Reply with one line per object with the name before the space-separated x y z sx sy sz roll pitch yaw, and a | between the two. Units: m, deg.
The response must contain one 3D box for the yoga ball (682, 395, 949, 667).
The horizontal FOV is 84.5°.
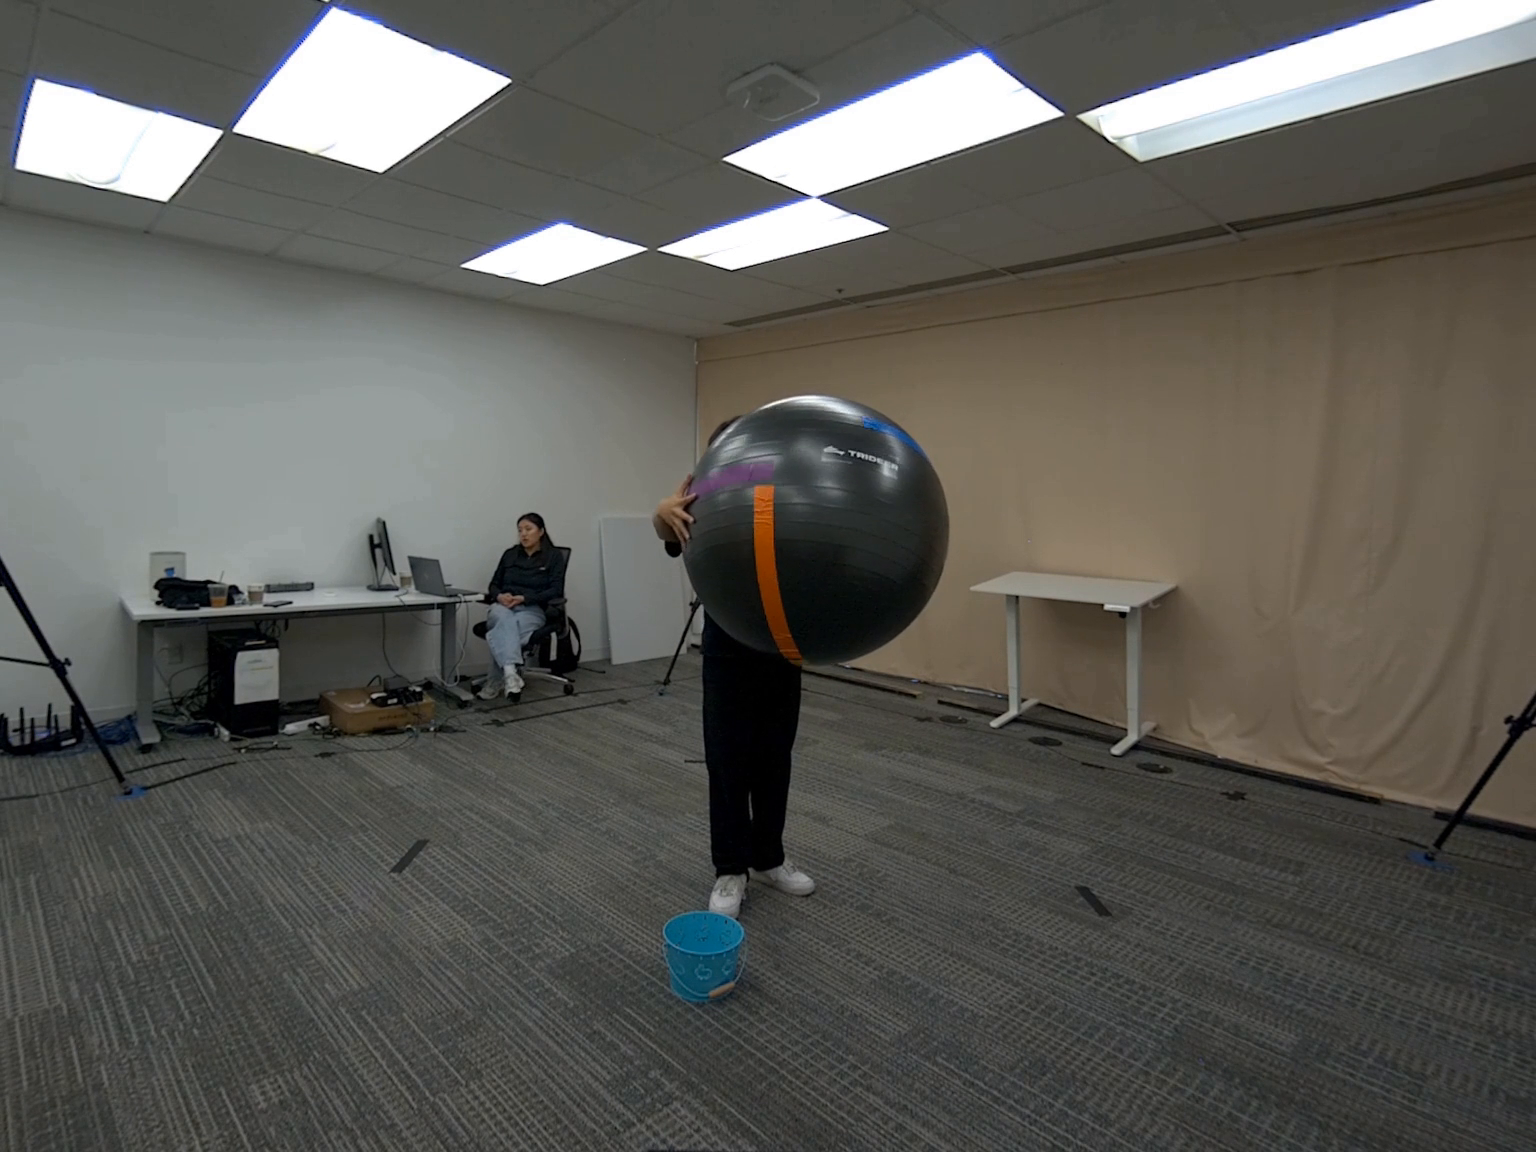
yoga ball | 0.132 -0.121 2.389 0.757 0.756 0.761 1 4 -1
